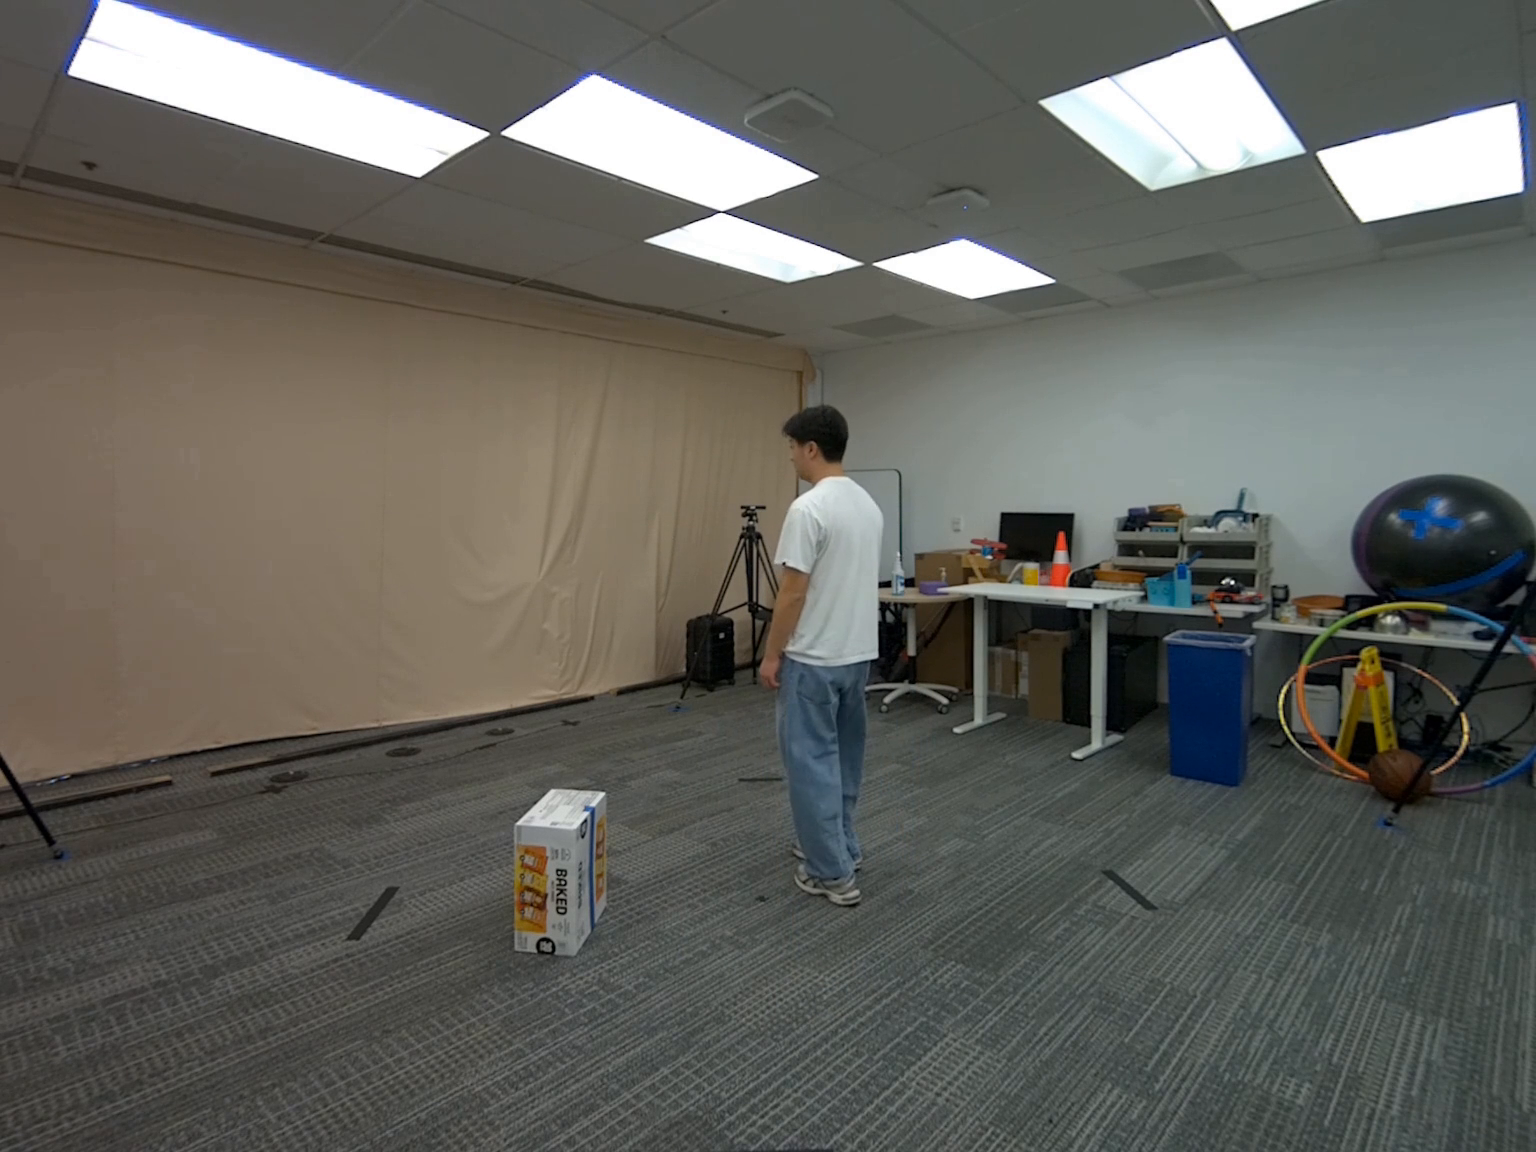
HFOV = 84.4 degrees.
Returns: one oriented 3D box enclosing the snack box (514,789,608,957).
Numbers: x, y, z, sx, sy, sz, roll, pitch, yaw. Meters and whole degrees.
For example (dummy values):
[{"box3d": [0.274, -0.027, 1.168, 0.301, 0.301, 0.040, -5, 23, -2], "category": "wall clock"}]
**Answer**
[{"box3d": [-0.683, 0.967, 2.762, 0.207, 0.404, 0.338, 1, 4, 5], "category": "snack box"}]
